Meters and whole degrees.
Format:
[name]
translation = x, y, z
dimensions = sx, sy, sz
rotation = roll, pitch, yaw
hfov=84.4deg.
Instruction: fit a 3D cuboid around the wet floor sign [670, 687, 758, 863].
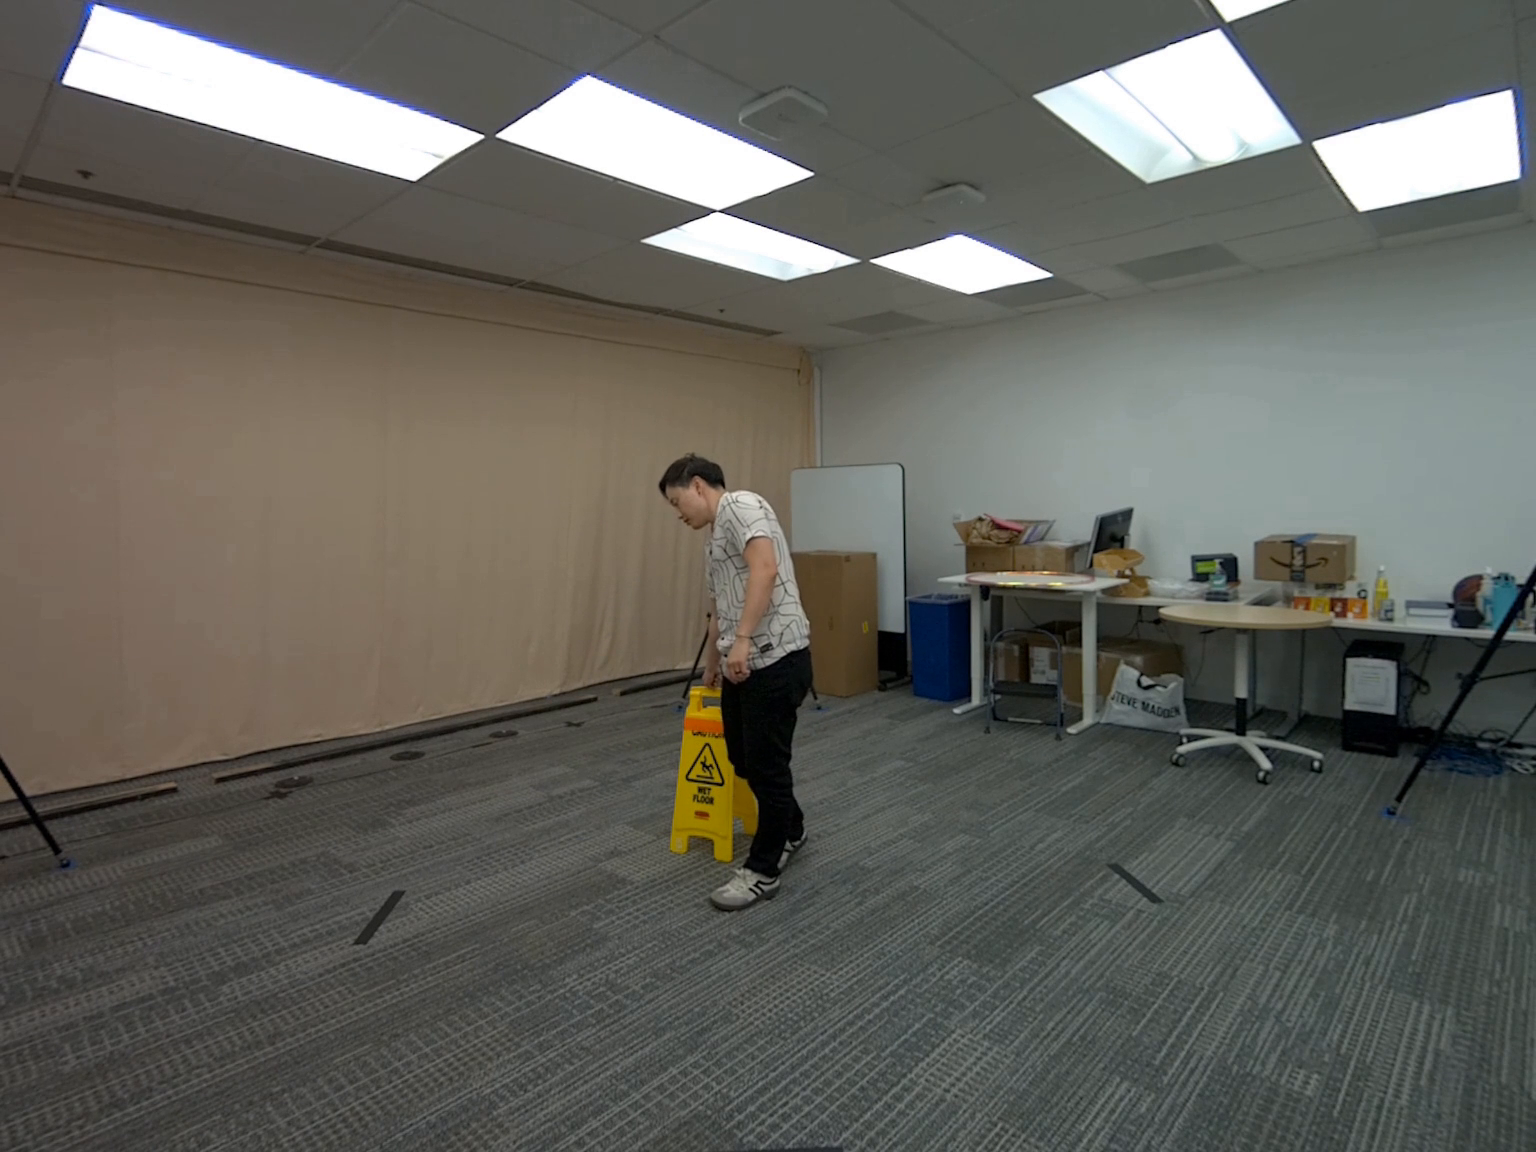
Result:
[wet floor sign]
translation = -0.220, 0.780, 3.455
dimensions = 0.289, 0.644, 0.283
rotation = -1, 4, 26
